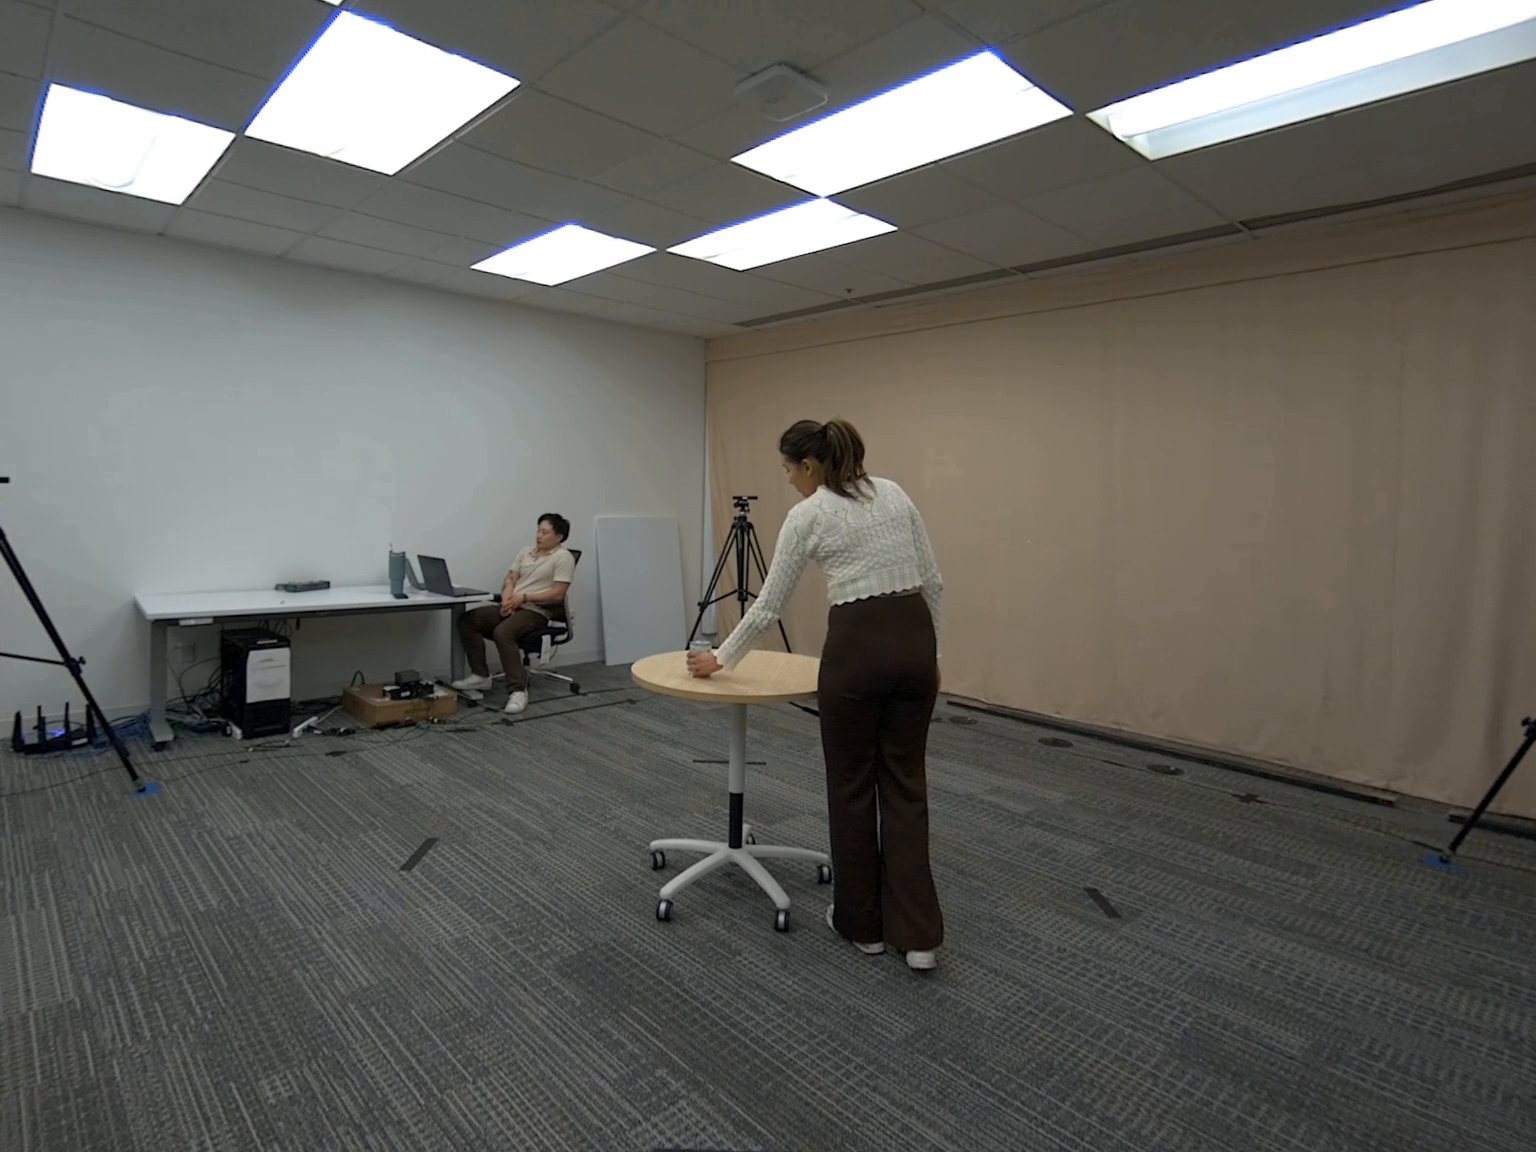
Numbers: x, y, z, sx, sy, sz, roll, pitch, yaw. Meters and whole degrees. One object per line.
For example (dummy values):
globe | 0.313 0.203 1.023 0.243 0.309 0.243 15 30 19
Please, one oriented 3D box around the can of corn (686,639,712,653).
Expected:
can of corn | -0.233 0.284 2.861 0.074 0.111 0.074 1 5 -1
